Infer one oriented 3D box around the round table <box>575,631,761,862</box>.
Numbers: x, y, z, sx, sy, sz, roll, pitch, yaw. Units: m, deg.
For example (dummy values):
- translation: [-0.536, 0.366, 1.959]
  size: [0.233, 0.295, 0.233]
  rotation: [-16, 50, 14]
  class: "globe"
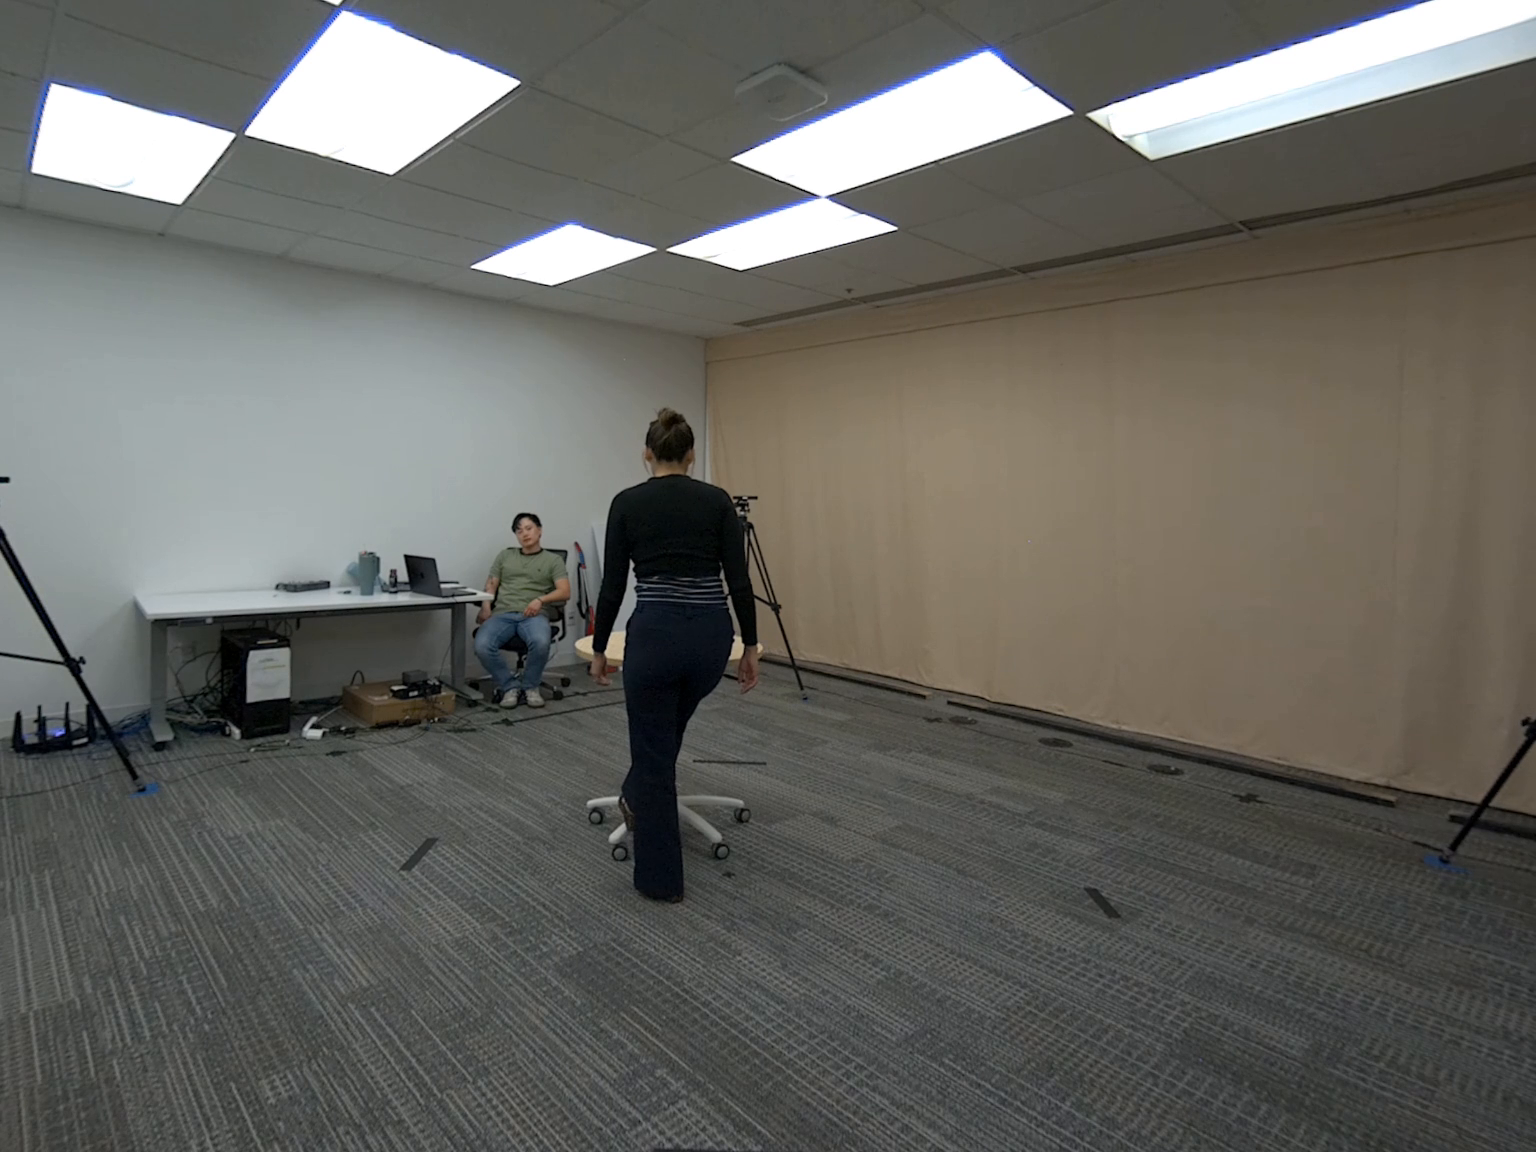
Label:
- translation: [-0.414, 0.678, 3.486]
  size: [0.763, 0.792, 0.766]
  rotation: [1, 4, -1]
  class: "round table"
